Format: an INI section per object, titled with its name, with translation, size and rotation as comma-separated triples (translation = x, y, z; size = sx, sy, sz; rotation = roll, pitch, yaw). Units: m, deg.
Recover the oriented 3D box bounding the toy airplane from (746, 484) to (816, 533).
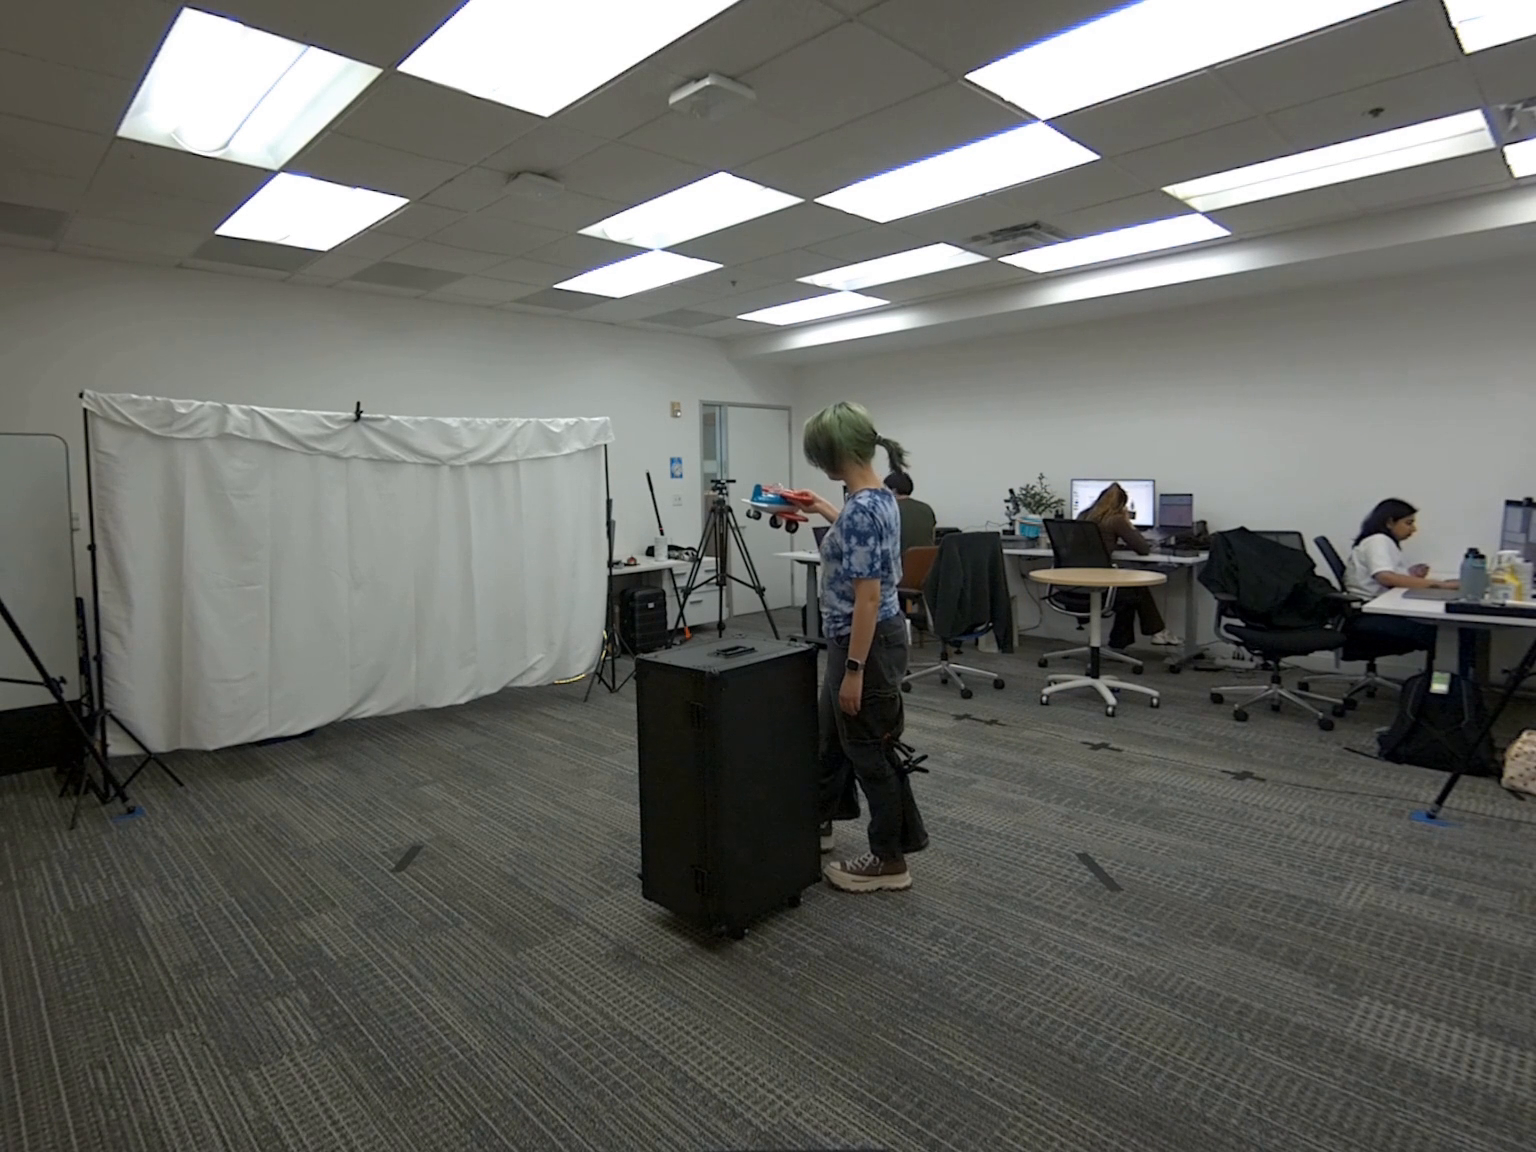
[toy airplane]
translation = 0.041, -0.261, 3.222
size = 0.256, 0.156, 0.254
rotation = 20, 0, 15
